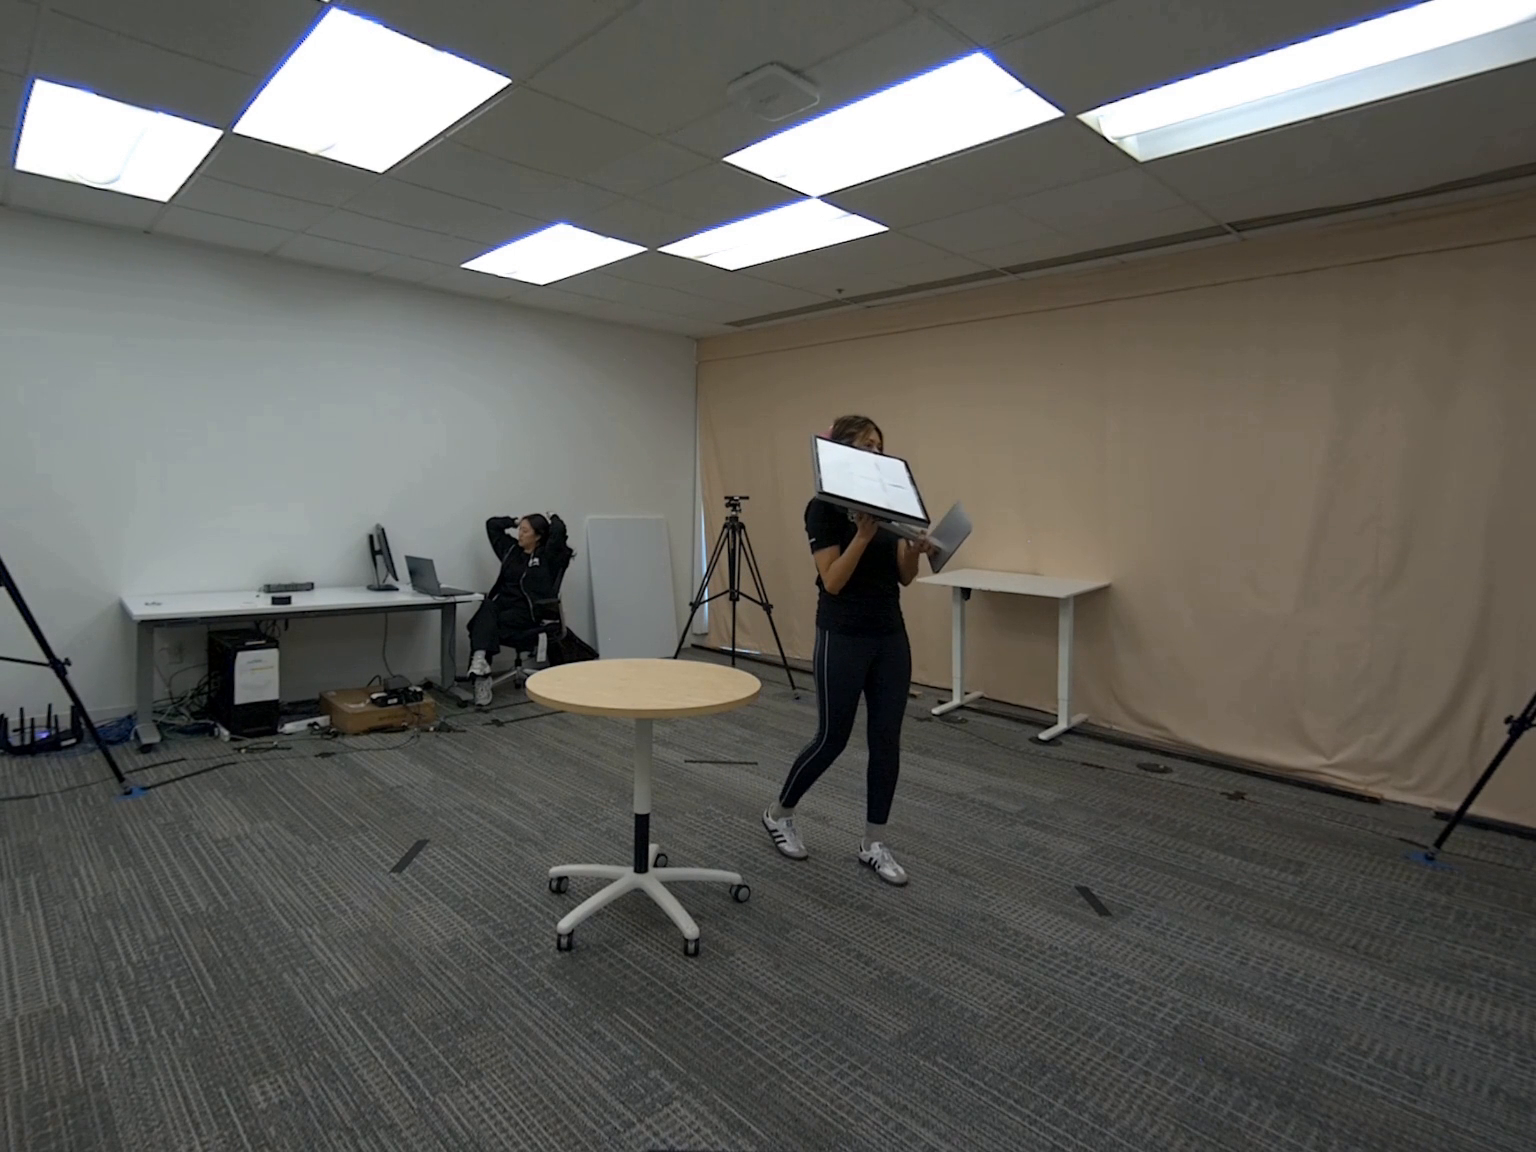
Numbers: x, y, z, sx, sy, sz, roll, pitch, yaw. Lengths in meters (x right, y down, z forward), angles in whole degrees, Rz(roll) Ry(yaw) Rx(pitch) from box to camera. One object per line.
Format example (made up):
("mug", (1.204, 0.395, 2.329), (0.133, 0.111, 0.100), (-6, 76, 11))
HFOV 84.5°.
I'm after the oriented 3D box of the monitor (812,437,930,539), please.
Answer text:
("monitor", (0.380, -0.255, 2.834), (0.517, 0.186, 0.547), (27, 22, -10))
